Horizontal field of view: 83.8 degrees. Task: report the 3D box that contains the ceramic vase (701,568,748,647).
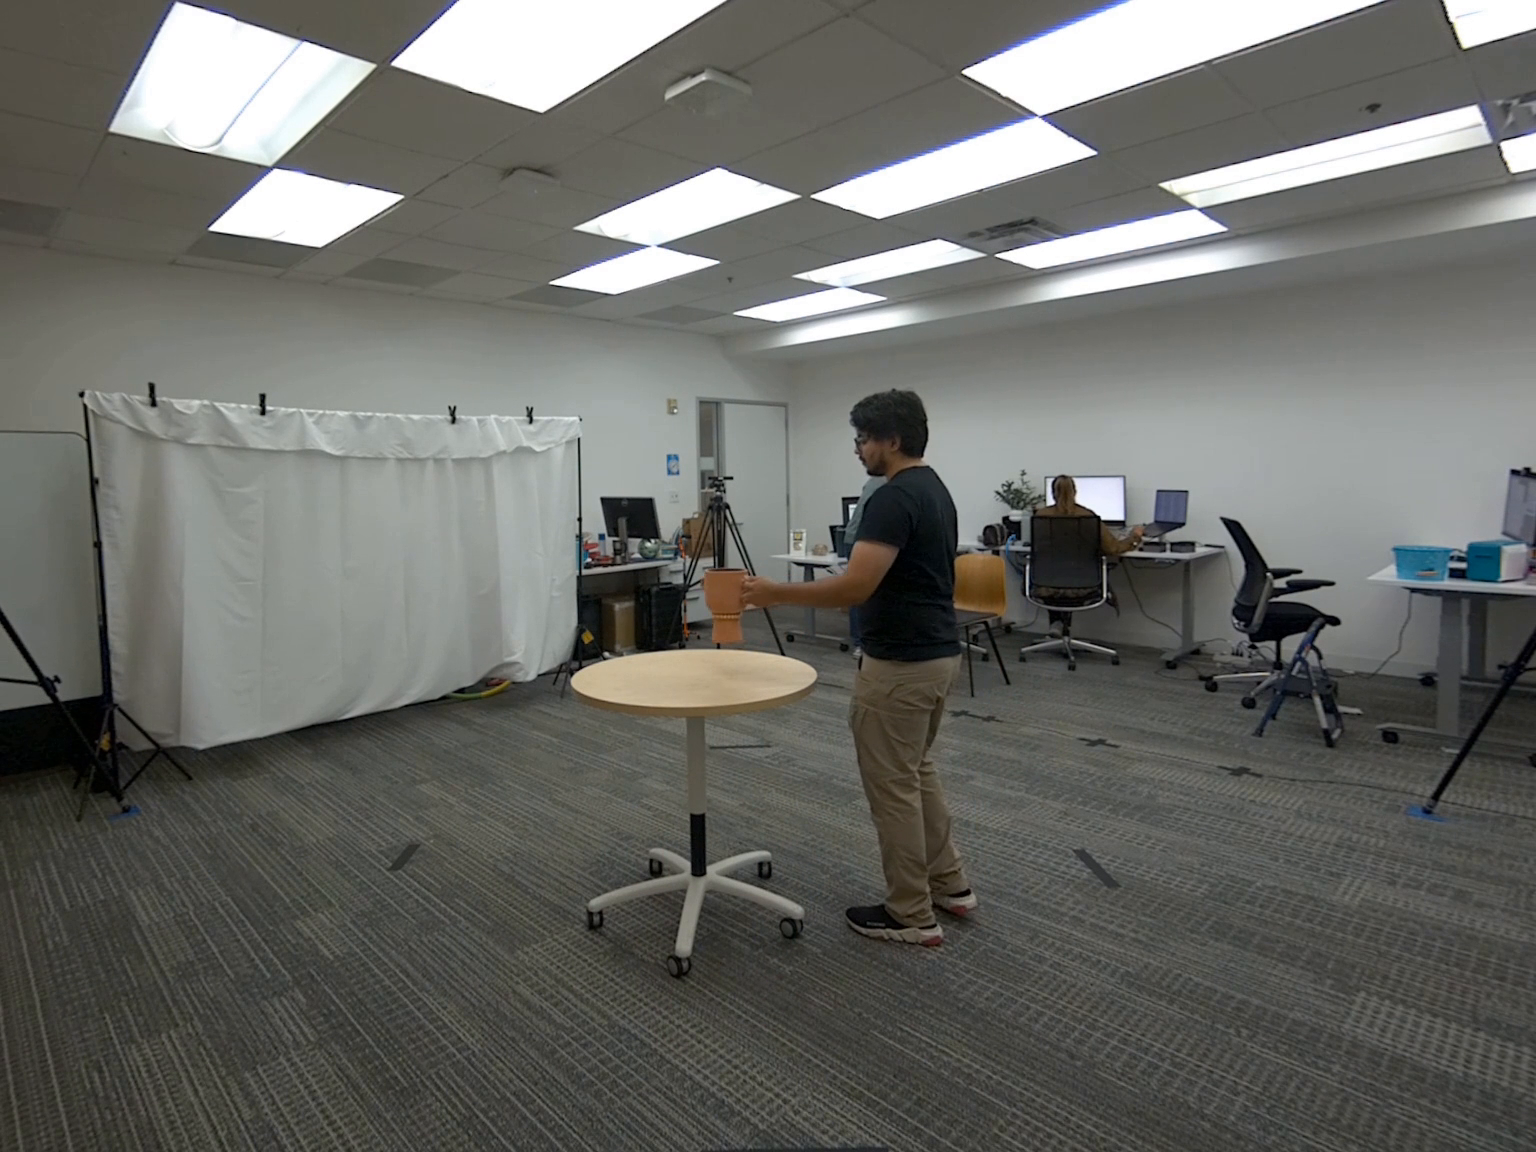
[{"bbox_3d":[-0.113,0.093,2.628,0.132,0.219,0.162,-2,4,-19],"label":"ceramic vase"}]
